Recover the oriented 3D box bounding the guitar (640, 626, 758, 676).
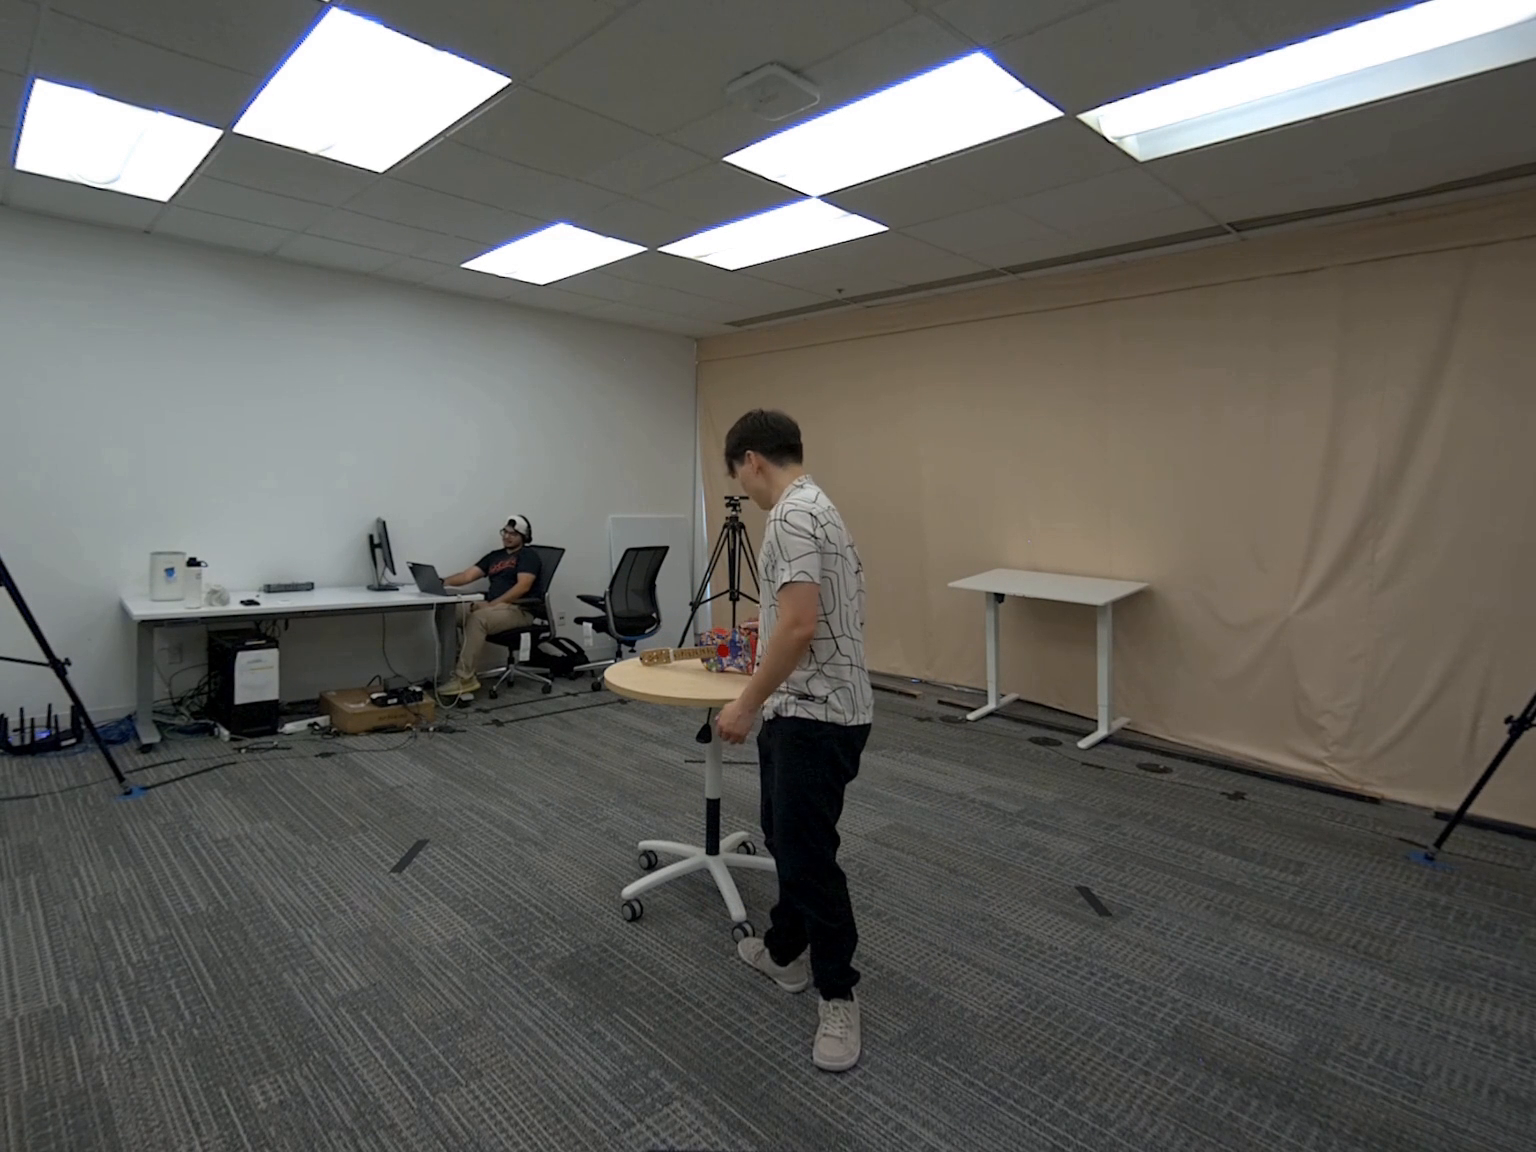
[{"bbox_3d":[-0.225,0.240,2.946,0.505,0.192,0.070,2,5,20],"label":"guitar"}]
